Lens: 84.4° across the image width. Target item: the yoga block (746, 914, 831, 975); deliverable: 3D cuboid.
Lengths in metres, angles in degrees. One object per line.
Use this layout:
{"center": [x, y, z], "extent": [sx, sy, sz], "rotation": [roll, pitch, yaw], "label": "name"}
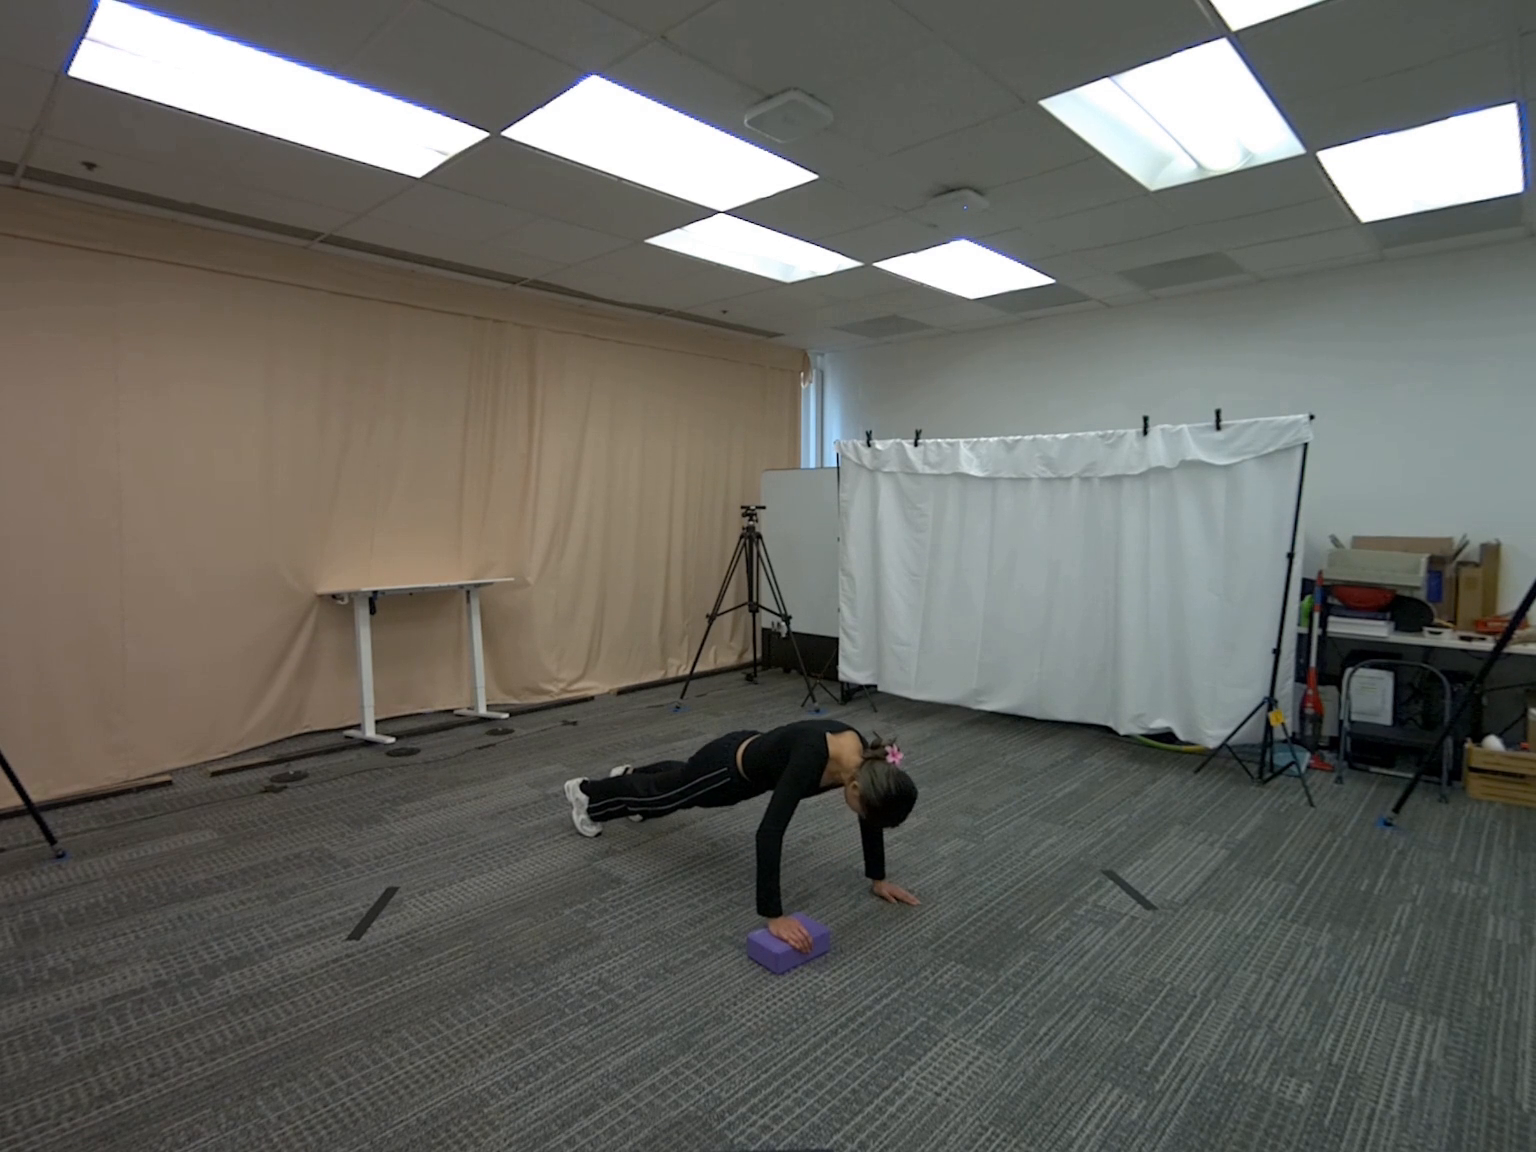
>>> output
{"center": [0.068, 1.138, 2.614], "extent": [0.222, 0.076, 0.154], "rotation": [-6, 7, -39], "label": "yoga block"}
